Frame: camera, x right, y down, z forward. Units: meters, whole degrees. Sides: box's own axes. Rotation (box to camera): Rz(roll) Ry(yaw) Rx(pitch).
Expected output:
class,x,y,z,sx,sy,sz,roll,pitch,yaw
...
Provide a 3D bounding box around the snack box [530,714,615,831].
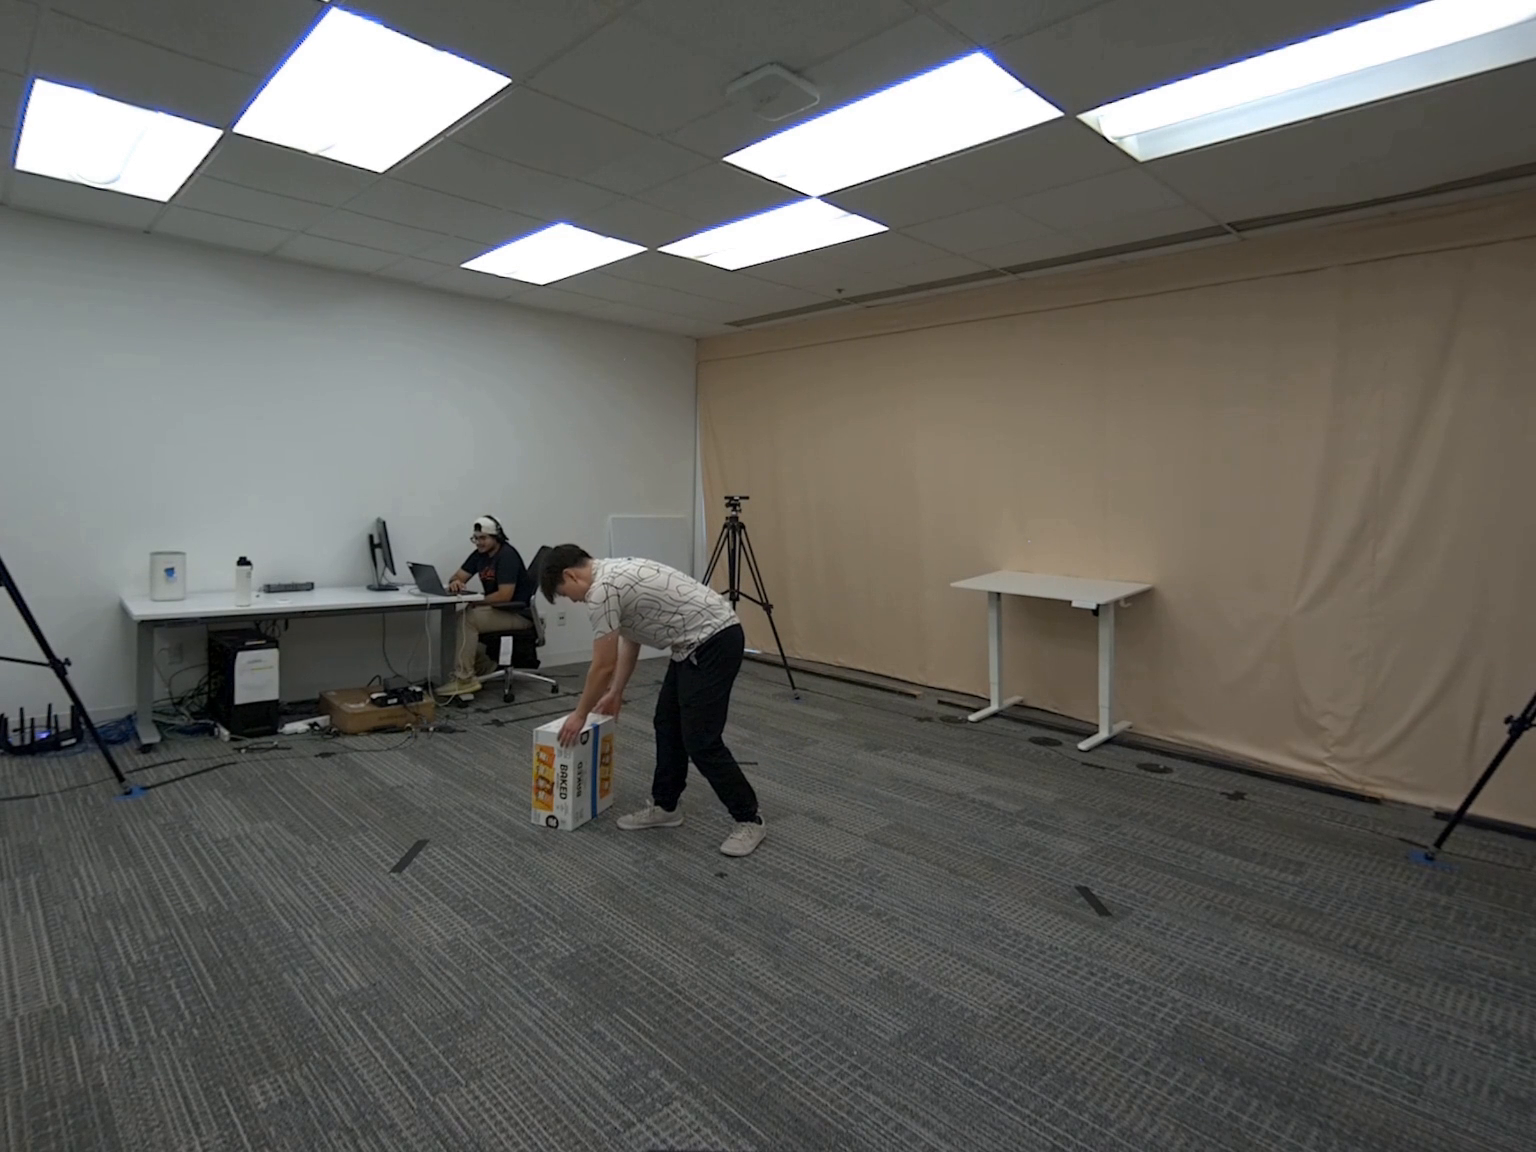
class,x,y,z,sx,sy,sz,roll,pitch,yaw
snack box,-0.844,0.831,3.654,0.209,0.404,0.336,3,5,20
